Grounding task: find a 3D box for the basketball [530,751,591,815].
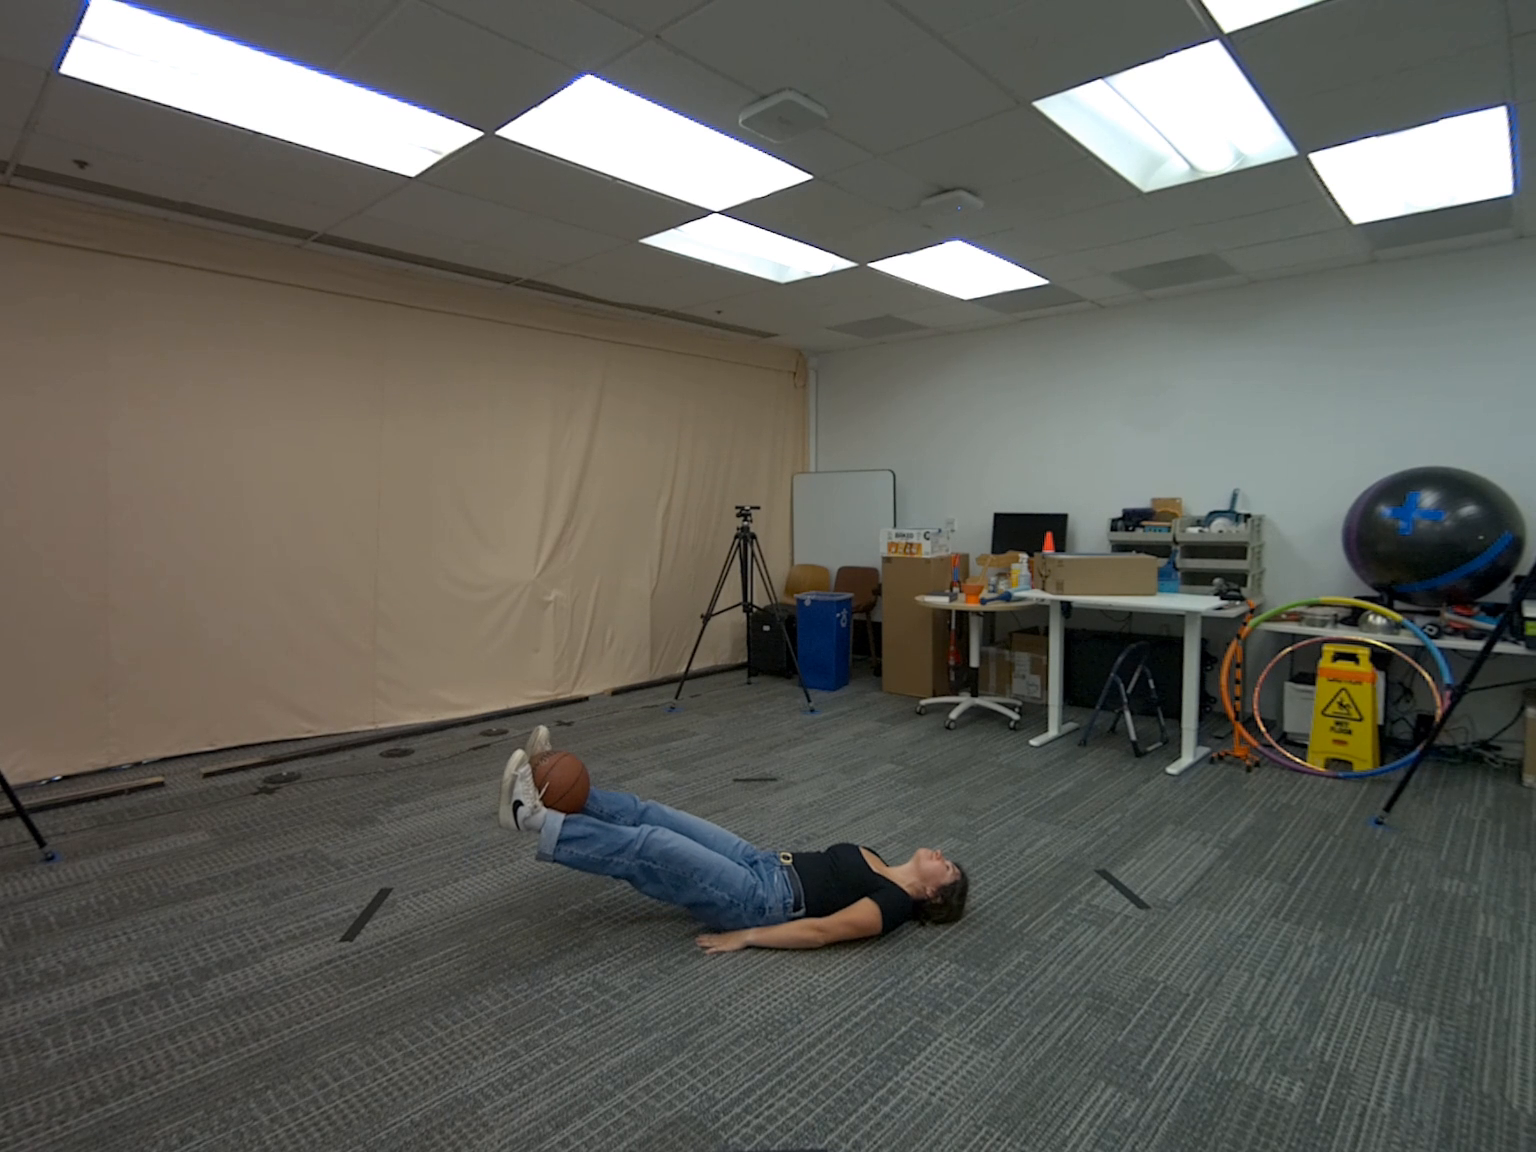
[{"bbox_3d":[-0.708,0.700,2.788,0.236,0.235,0.237,0,4,-2],"label":"basketball"}]
